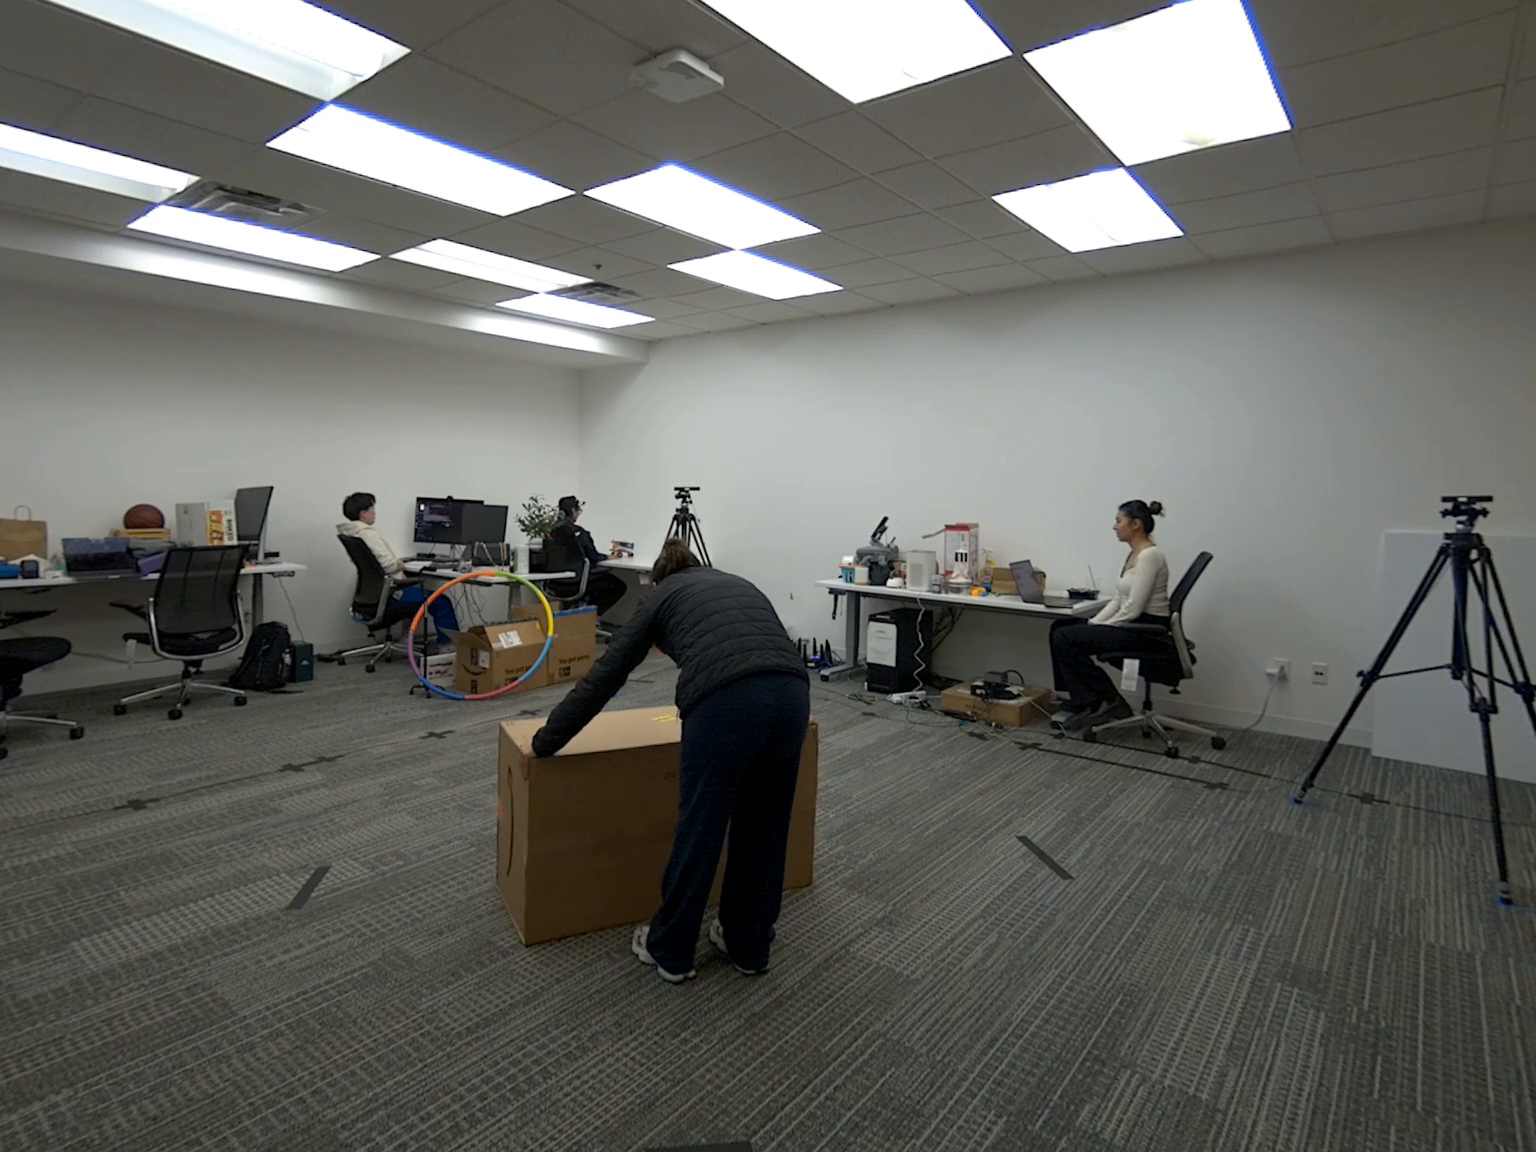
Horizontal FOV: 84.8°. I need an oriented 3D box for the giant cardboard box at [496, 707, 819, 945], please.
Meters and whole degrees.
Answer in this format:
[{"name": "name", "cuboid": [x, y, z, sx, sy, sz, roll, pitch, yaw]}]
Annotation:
[{"name": "giant cardboard box", "cuboid": [-0.368, 0.790, 2.963, 1.001, 0.582, 0.459, -1, 4, -27]}]
